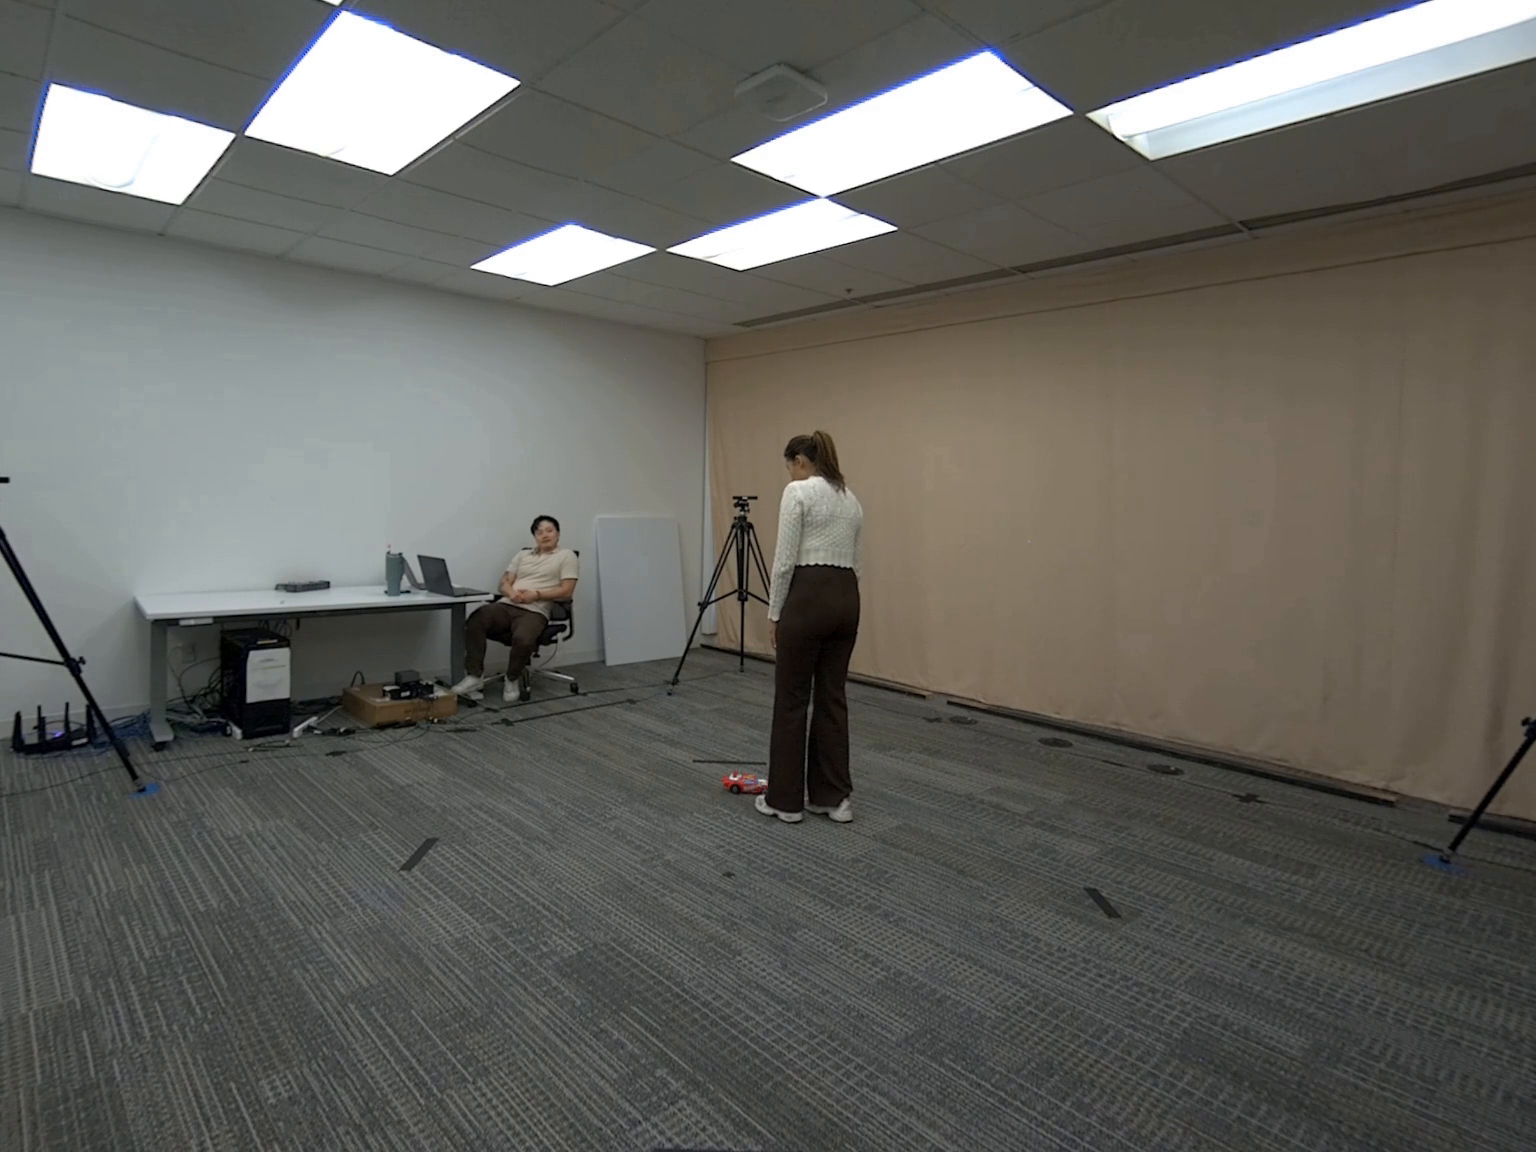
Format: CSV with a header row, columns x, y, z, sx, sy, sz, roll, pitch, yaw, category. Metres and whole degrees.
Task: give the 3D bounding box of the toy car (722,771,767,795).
x,y,z,sx,sy,sz,roll,pitch,yaw,category
-0.115,0.994,4.016,0.256,0.083,0.130,15,6,6,toy car
